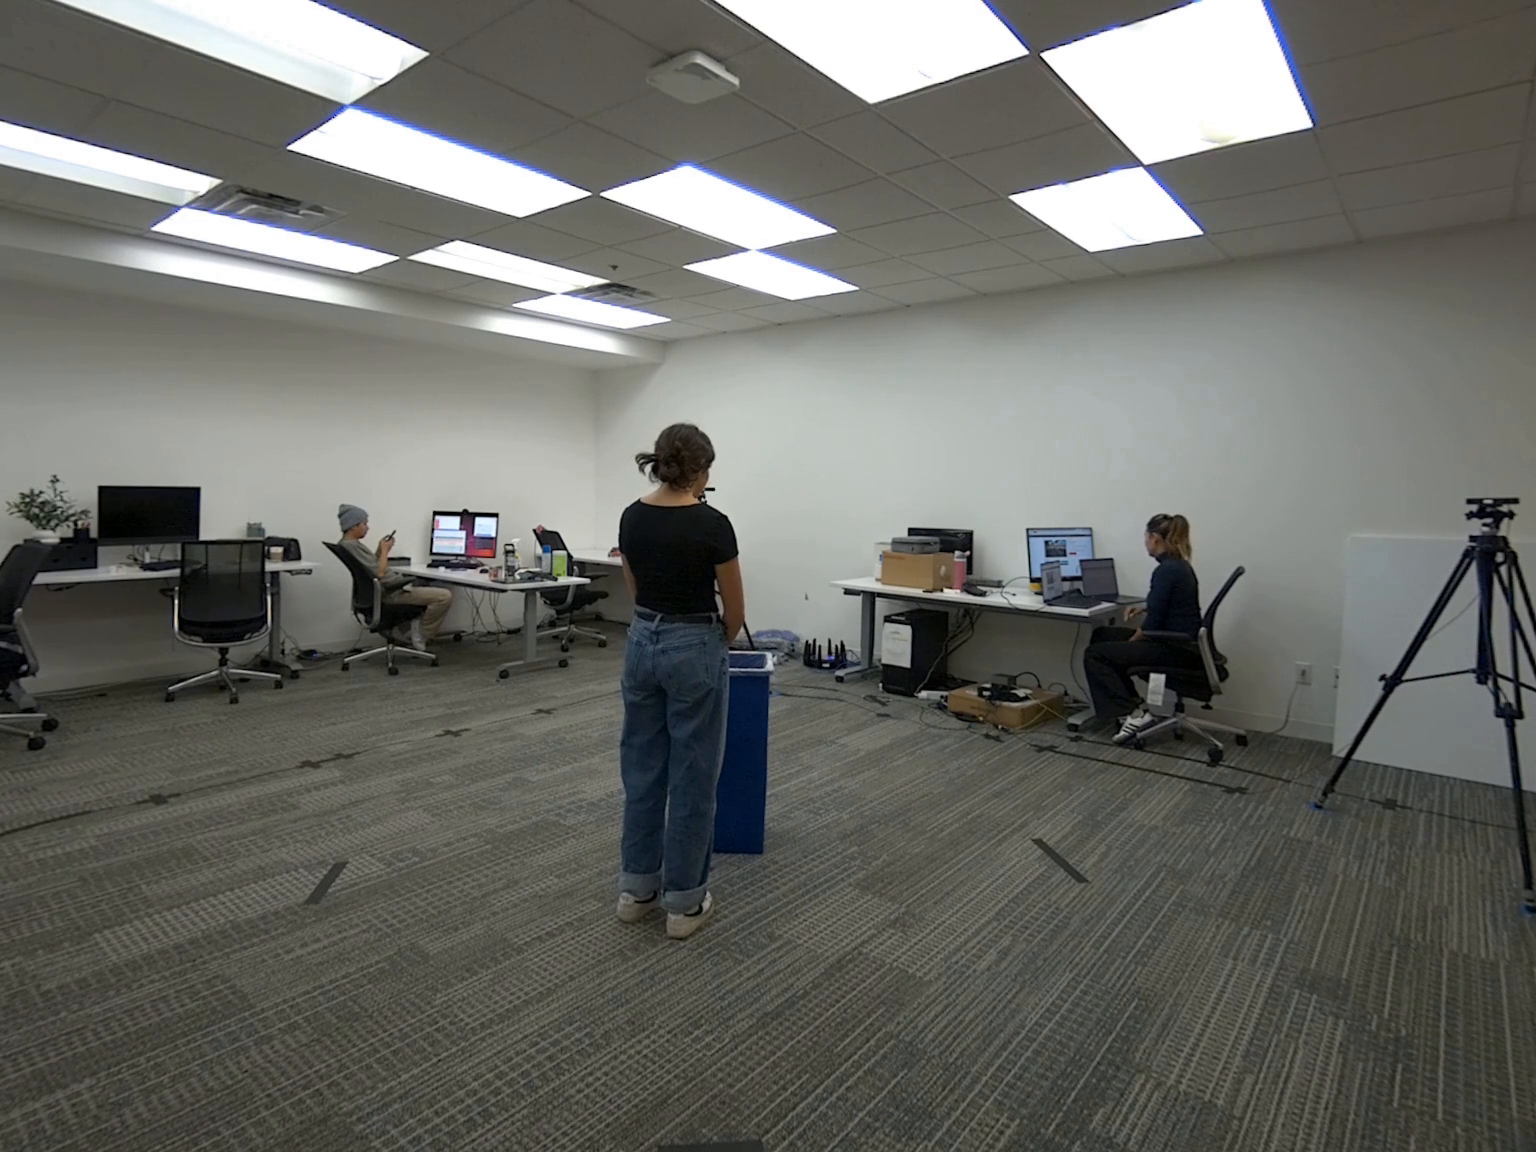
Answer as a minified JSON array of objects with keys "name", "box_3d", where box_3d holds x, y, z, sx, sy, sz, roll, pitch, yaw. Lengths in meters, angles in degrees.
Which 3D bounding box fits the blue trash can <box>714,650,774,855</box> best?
[{"name":"blue trash can","box_3d":[-0.180,0.687,3.379,0.375,0.712,0.378,1,2,1]}]
